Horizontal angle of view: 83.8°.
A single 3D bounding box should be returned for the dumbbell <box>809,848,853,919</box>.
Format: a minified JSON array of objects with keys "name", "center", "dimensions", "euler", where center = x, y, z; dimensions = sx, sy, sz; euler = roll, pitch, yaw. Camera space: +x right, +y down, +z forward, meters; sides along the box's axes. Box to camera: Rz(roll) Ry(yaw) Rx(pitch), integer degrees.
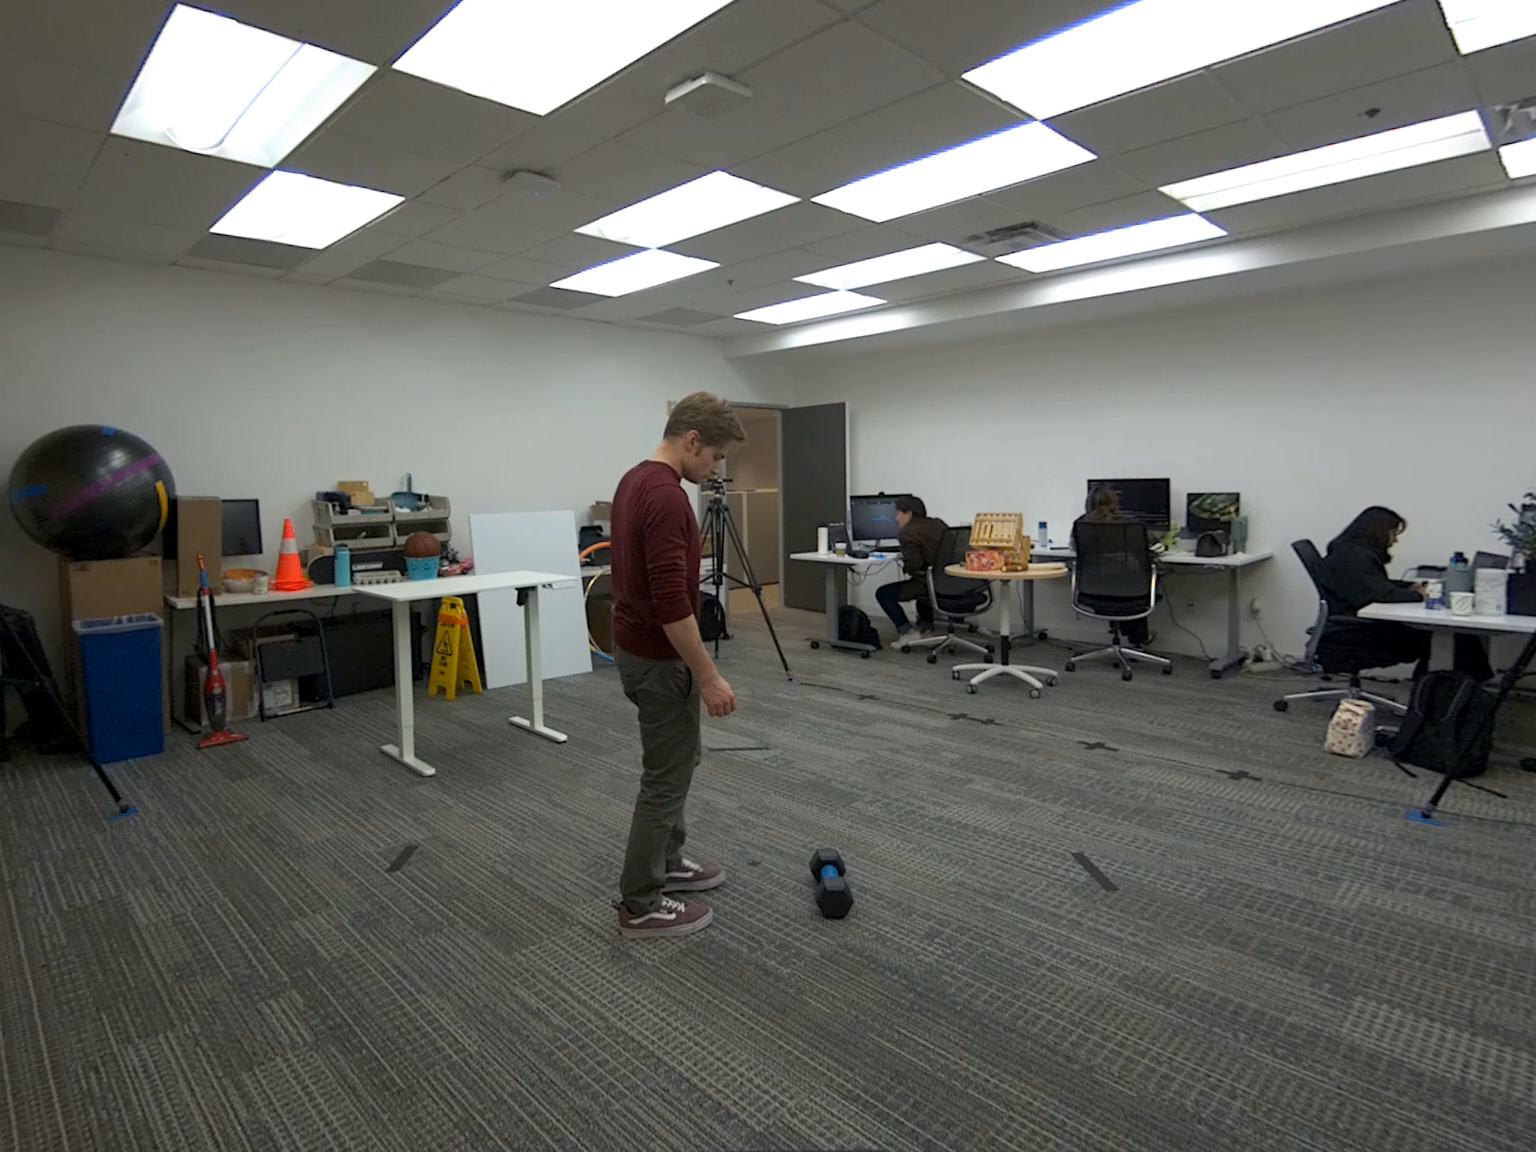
[{"name":"dumbbell","center":[0.213,1.019,2.839],"dimensions":[0.109,0.122,0.295],"euler":[-31,6,2]}]
